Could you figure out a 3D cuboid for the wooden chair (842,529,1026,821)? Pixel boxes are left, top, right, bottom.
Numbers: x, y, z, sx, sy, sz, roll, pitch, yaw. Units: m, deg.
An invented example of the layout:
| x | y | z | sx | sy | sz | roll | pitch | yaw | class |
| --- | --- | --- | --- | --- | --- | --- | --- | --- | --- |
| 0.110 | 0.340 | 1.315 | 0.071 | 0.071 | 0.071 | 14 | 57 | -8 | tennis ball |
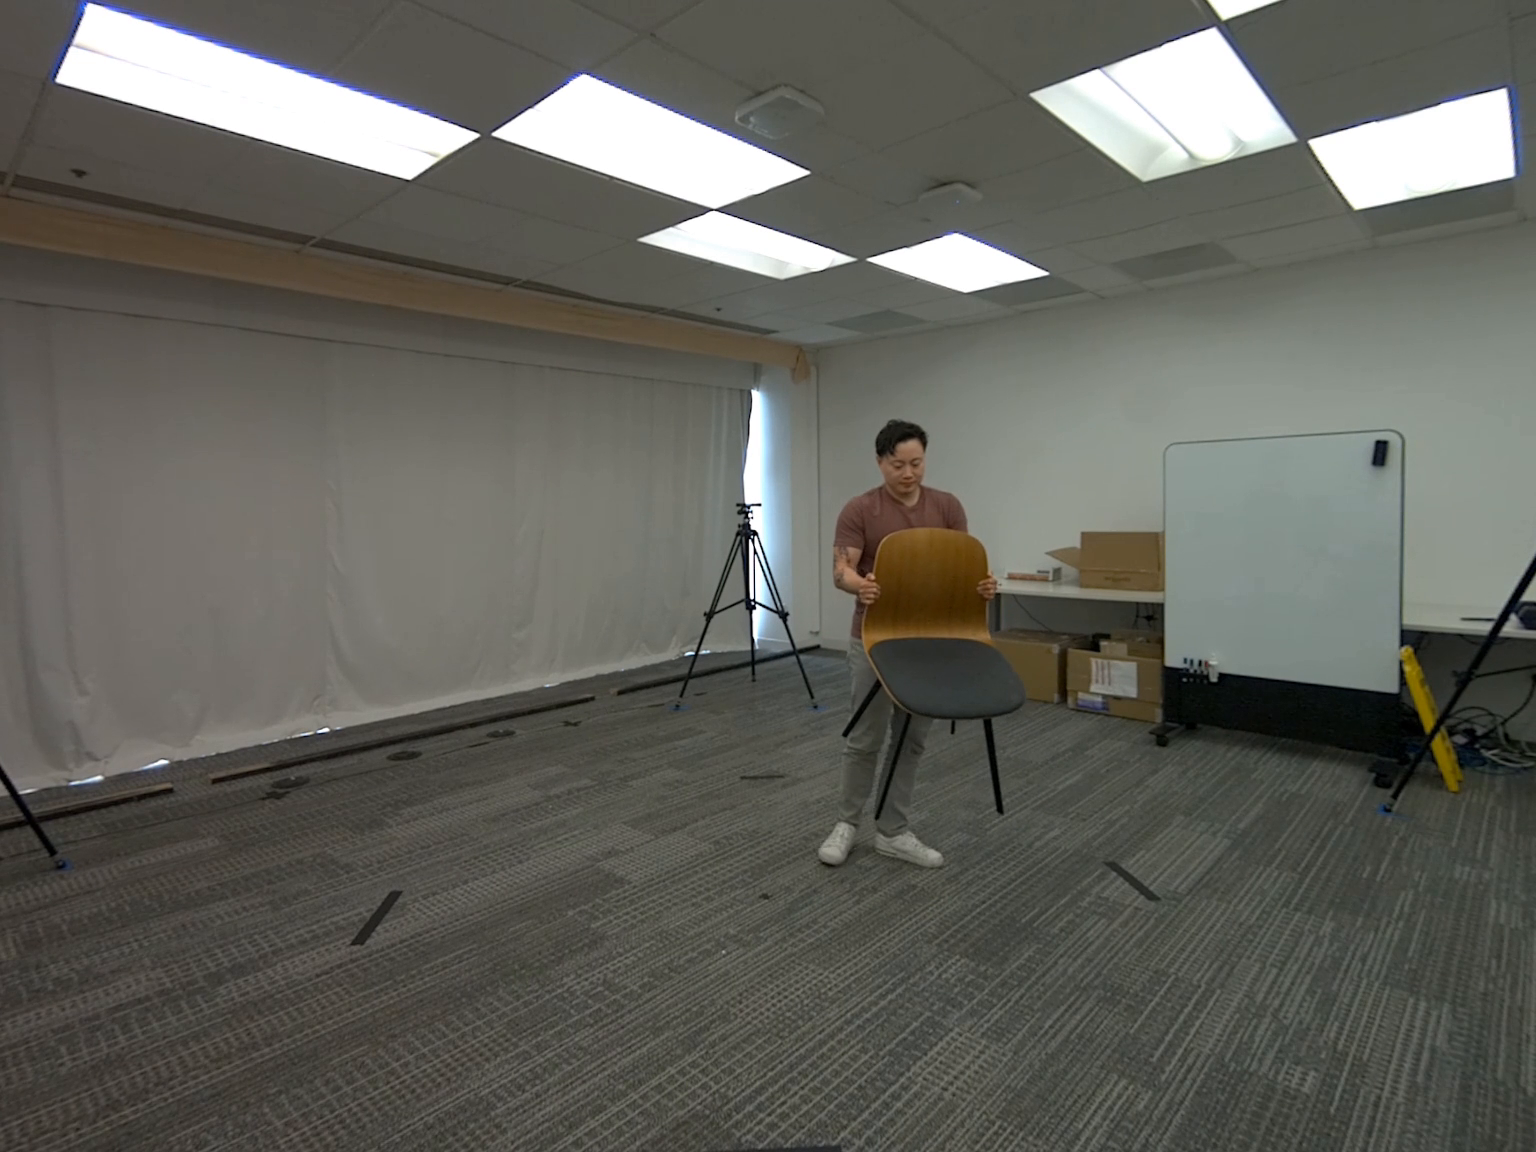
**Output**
| x | y | z | sx | sy | sz | roll | pitch | yaw | class |
| --- | --- | --- | --- | --- | --- | --- | --- | --- | --- |
| 0.590 | 0.336 | 2.857 | 0.473 | 0.868 | 0.534 | 2 | 20 | -10 | wooden chair |
